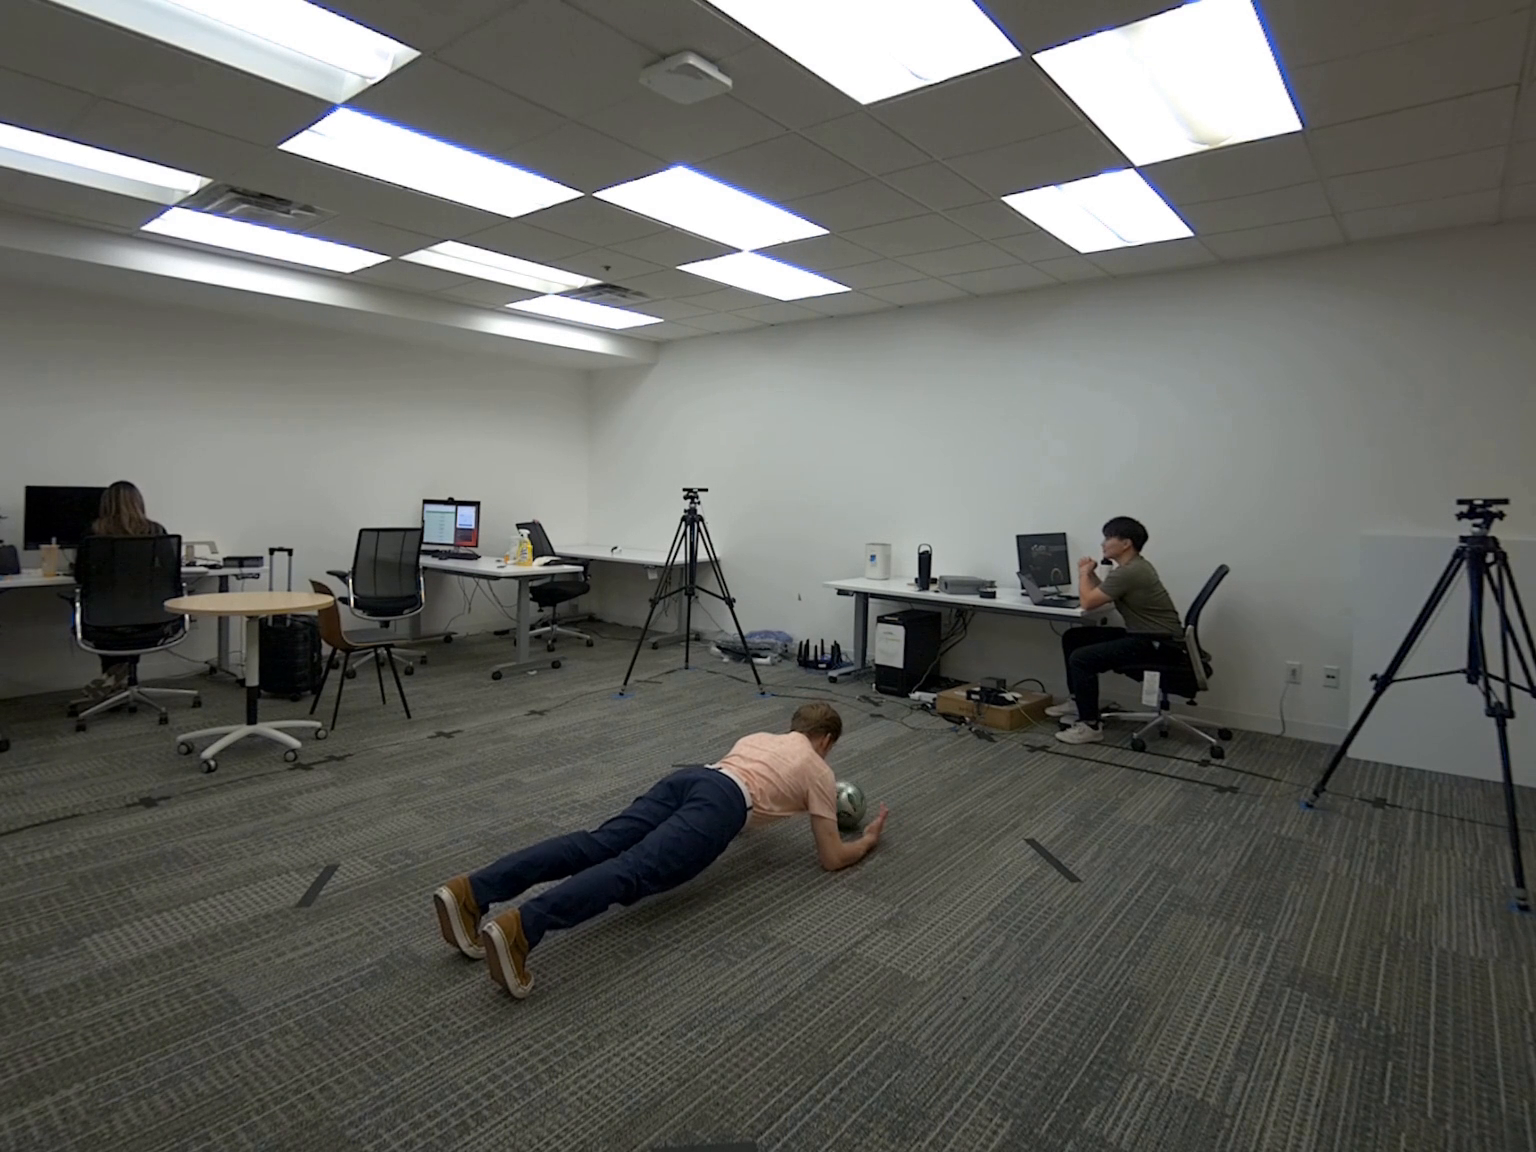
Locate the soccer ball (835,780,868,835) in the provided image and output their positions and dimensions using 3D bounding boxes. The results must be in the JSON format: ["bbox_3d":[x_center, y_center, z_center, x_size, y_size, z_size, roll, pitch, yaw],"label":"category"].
[{"bbox_3d":[0.309,0.951,3.533,0.187,0.187,0.188,1,4,-2],"label":"soccer ball"}]
